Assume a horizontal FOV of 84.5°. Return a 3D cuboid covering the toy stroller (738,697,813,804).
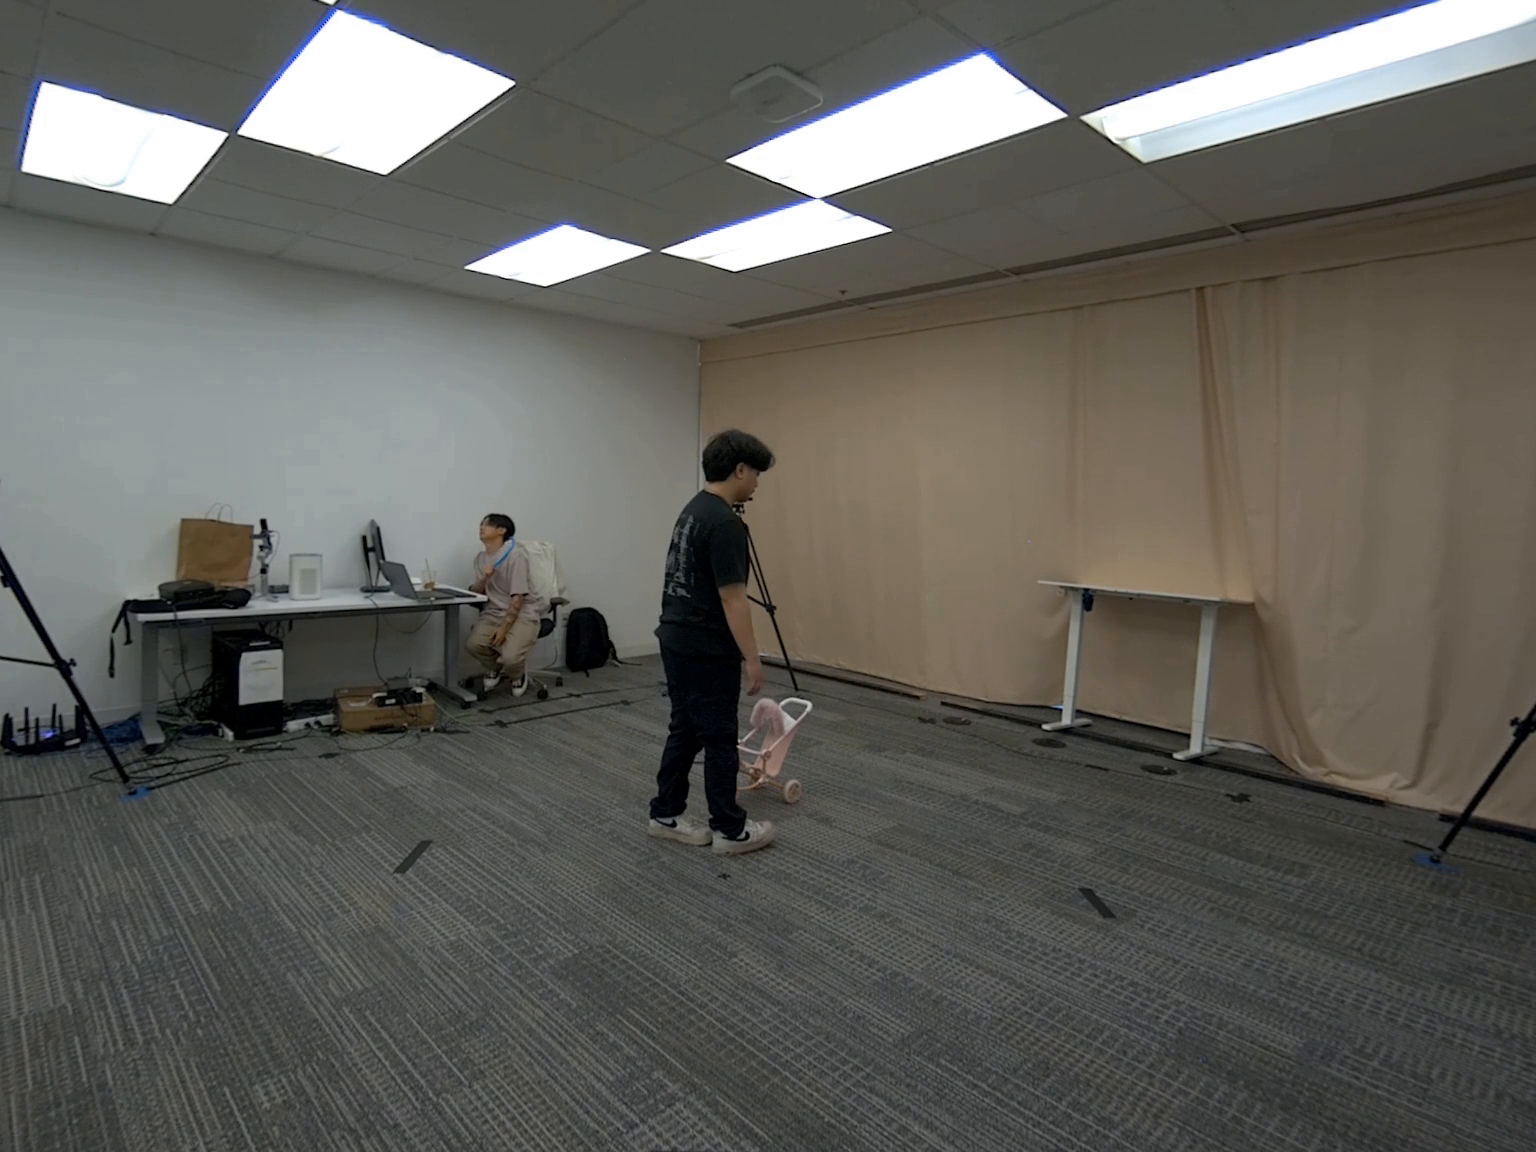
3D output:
[{"bbox_3d":[-0.029,0.816,3.941,0.332,0.537,0.288,18,-8,-35],"label":"toy stroller"}]
